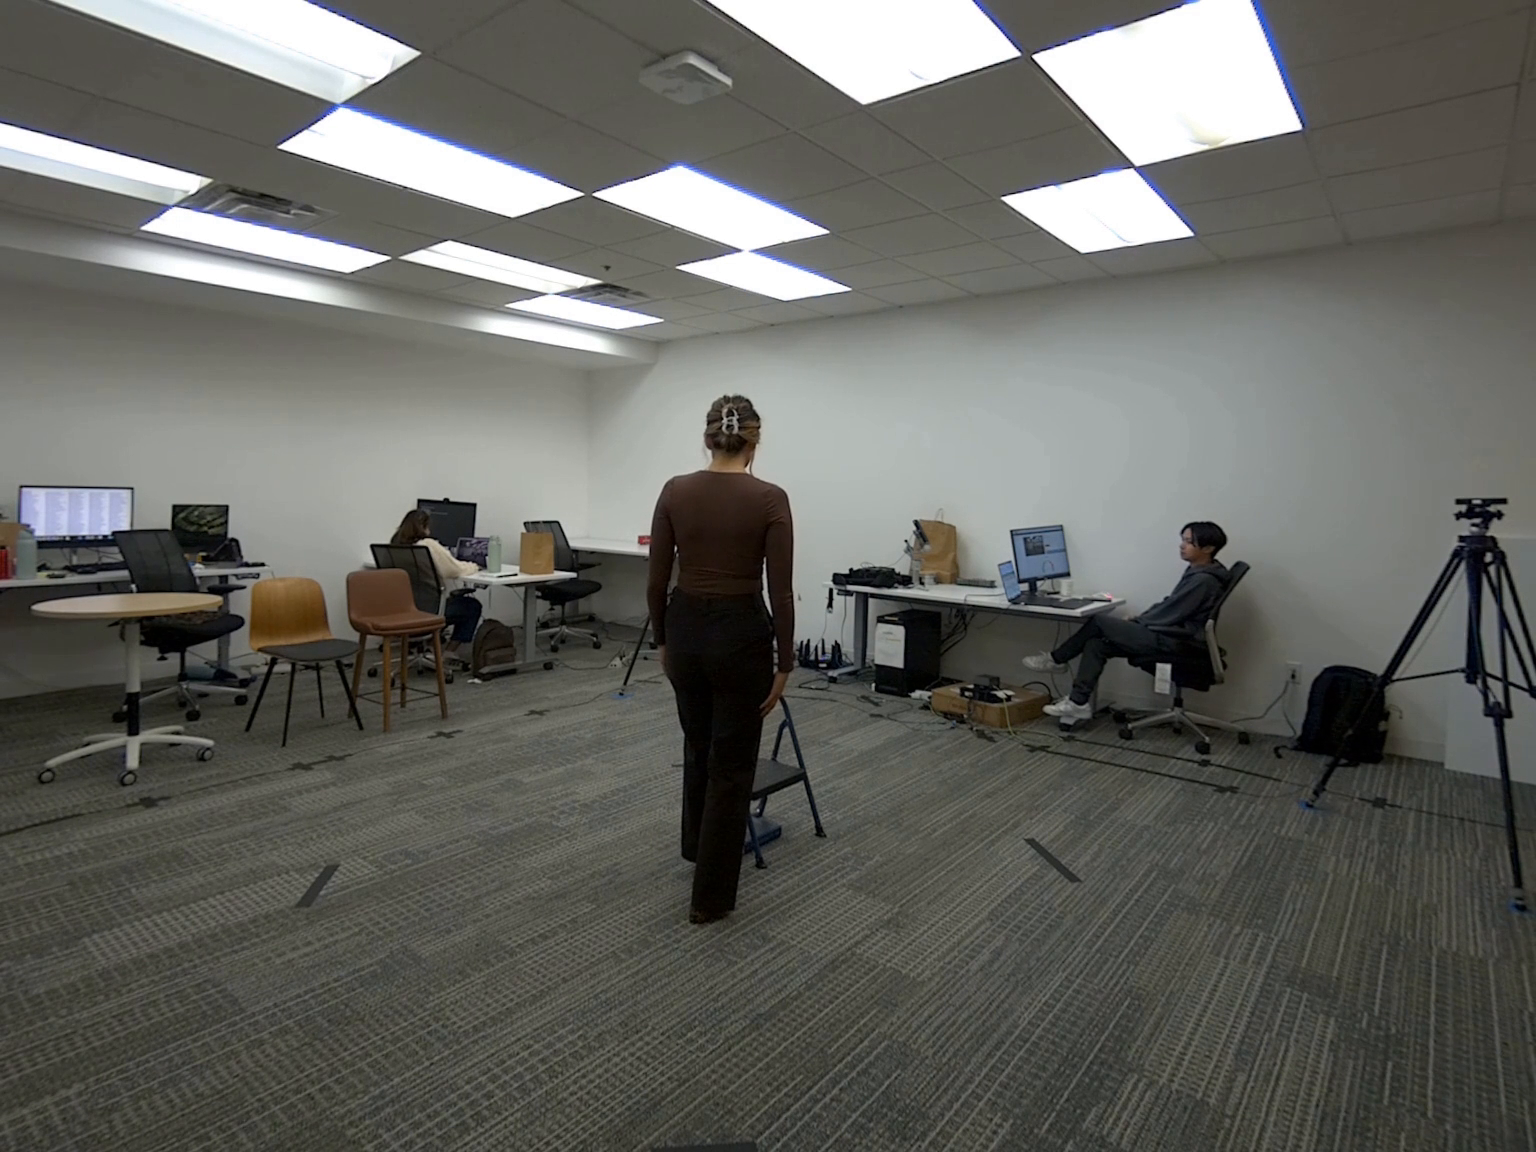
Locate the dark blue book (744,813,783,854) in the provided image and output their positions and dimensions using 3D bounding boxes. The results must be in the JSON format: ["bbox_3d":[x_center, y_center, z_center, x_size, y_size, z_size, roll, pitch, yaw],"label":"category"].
[{"bbox_3d":[-0.082,1.027,3.372,0.169,0.045,0.238,5,7,38],"label":"dark blue book"}]
